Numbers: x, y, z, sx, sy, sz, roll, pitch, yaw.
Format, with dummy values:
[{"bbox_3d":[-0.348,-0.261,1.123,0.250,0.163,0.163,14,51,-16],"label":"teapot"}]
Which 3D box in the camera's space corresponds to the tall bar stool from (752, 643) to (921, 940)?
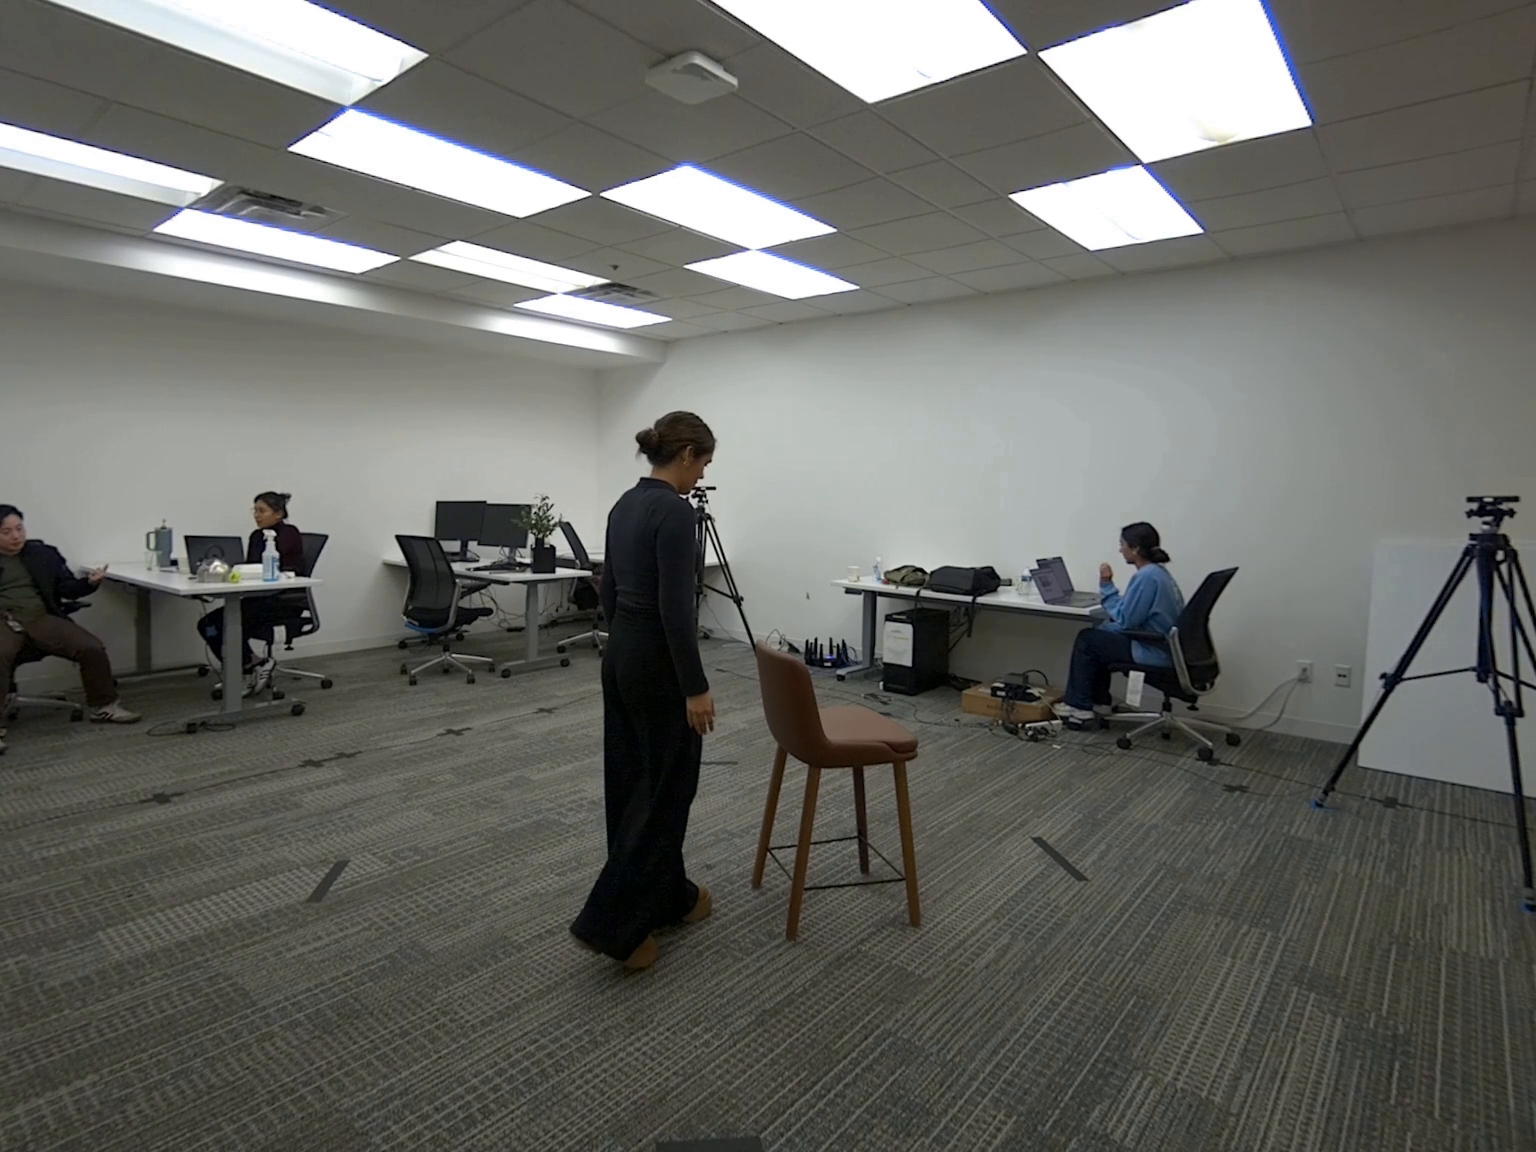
[{"bbox_3d":[0.205,0.658,2.837,0.460,0.887,0.466,-2,3,-18],"label":"tall bar stool"}]
